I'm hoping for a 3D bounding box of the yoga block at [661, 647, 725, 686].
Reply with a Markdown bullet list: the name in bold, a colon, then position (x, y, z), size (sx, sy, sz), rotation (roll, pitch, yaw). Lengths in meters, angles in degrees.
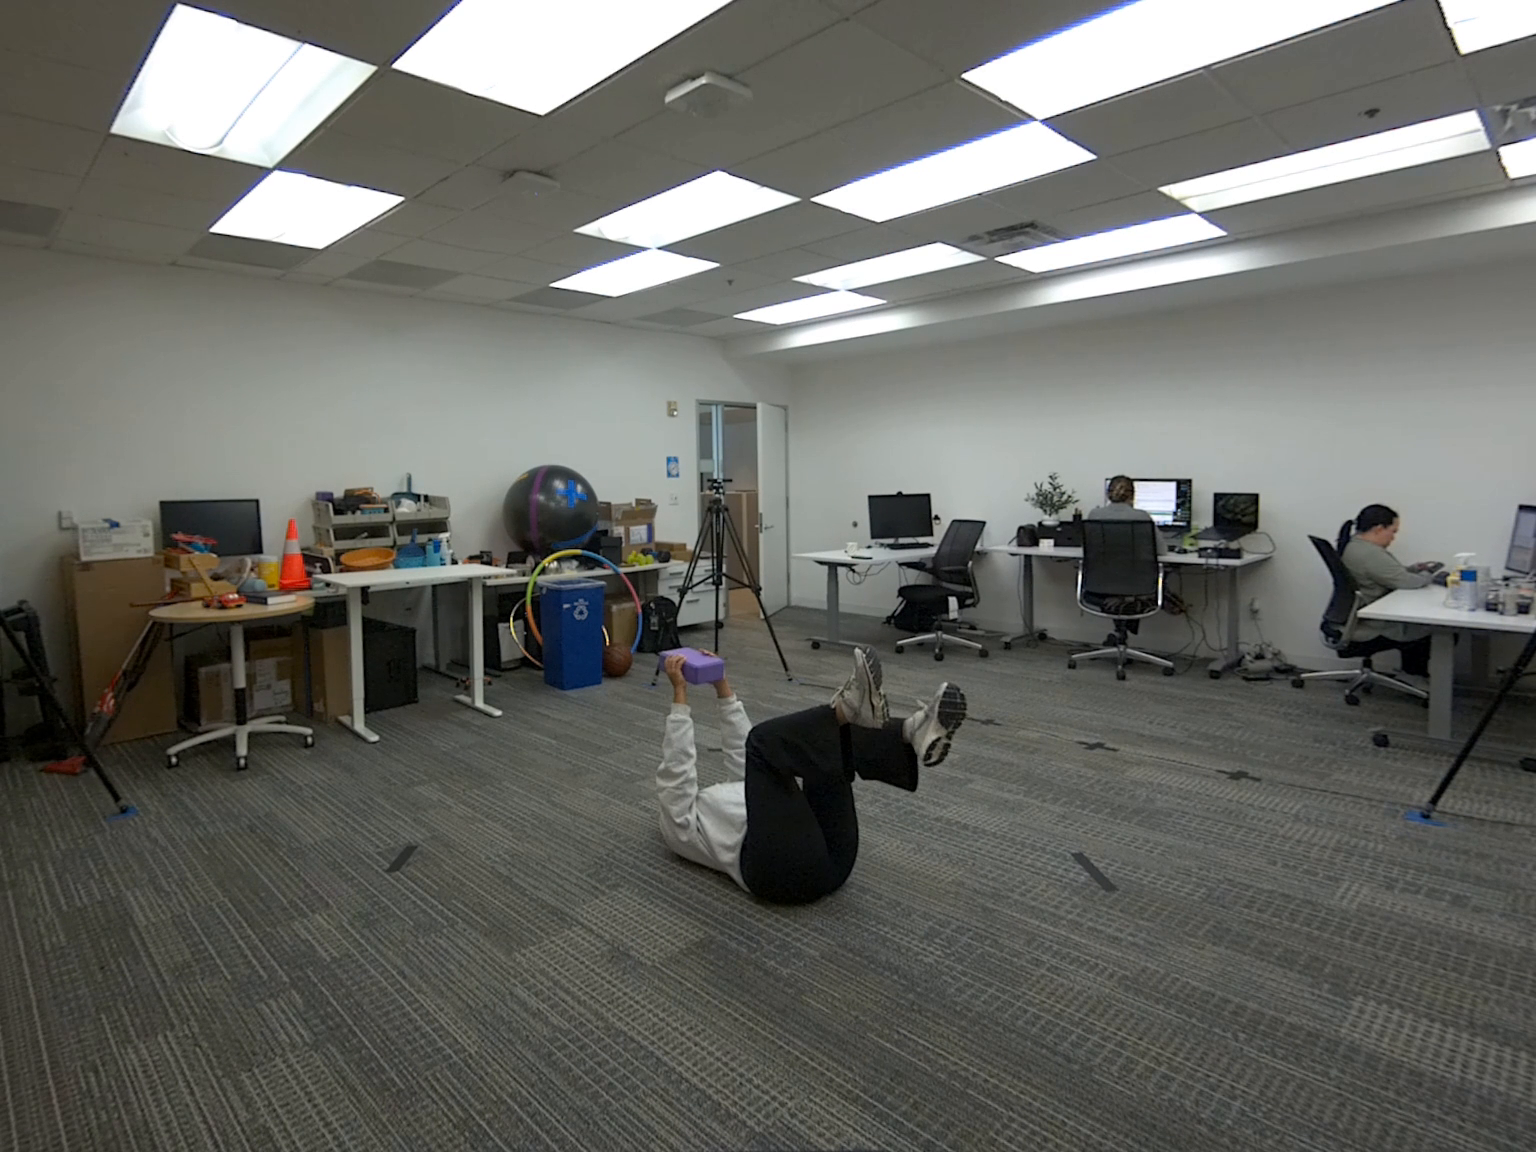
- **yoga block**: position (-0.296, 0.346, 3.286), size (0.145, 0.076, 0.237), rotation (-6, 14, -44)
